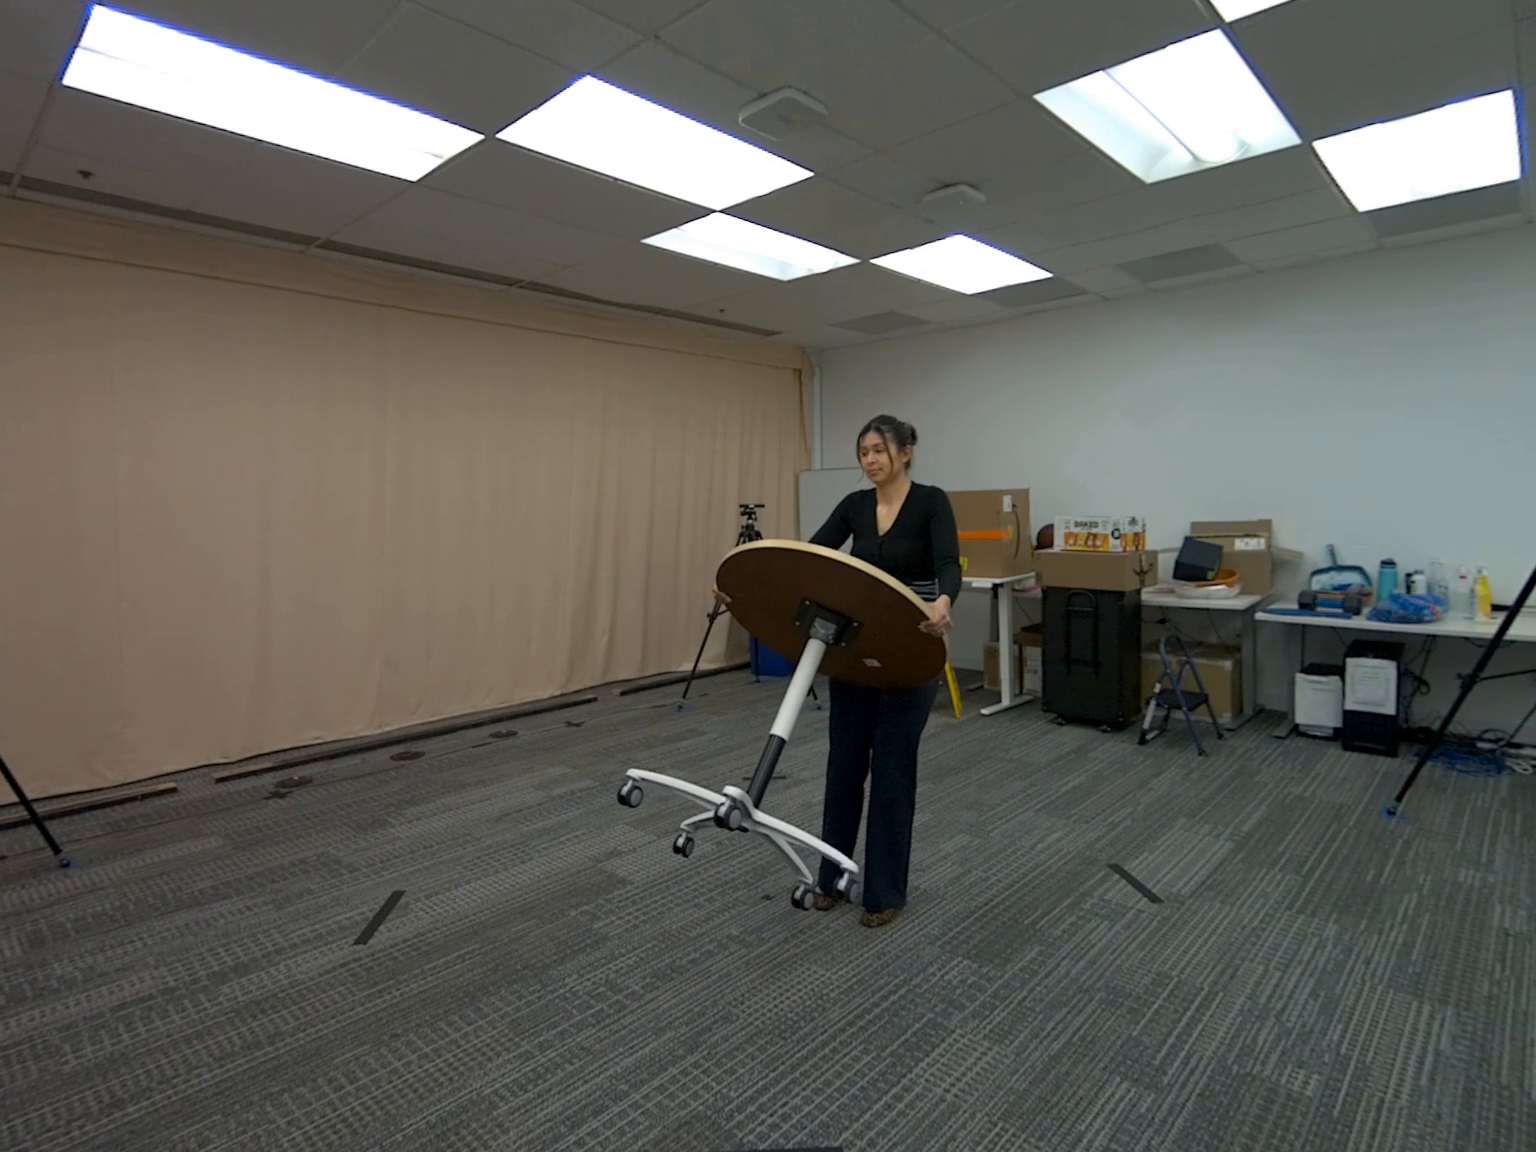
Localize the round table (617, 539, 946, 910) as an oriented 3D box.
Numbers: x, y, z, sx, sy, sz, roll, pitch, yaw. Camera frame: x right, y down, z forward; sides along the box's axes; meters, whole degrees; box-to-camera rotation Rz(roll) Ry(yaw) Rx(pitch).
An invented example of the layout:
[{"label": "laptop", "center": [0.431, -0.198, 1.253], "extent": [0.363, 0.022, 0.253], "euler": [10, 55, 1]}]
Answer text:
[{"label": "round table", "center": [0.049, 0.450, 2.479], "extent": [0.774, 0.796, 0.752], "euler": [20, -28, 10]}]
